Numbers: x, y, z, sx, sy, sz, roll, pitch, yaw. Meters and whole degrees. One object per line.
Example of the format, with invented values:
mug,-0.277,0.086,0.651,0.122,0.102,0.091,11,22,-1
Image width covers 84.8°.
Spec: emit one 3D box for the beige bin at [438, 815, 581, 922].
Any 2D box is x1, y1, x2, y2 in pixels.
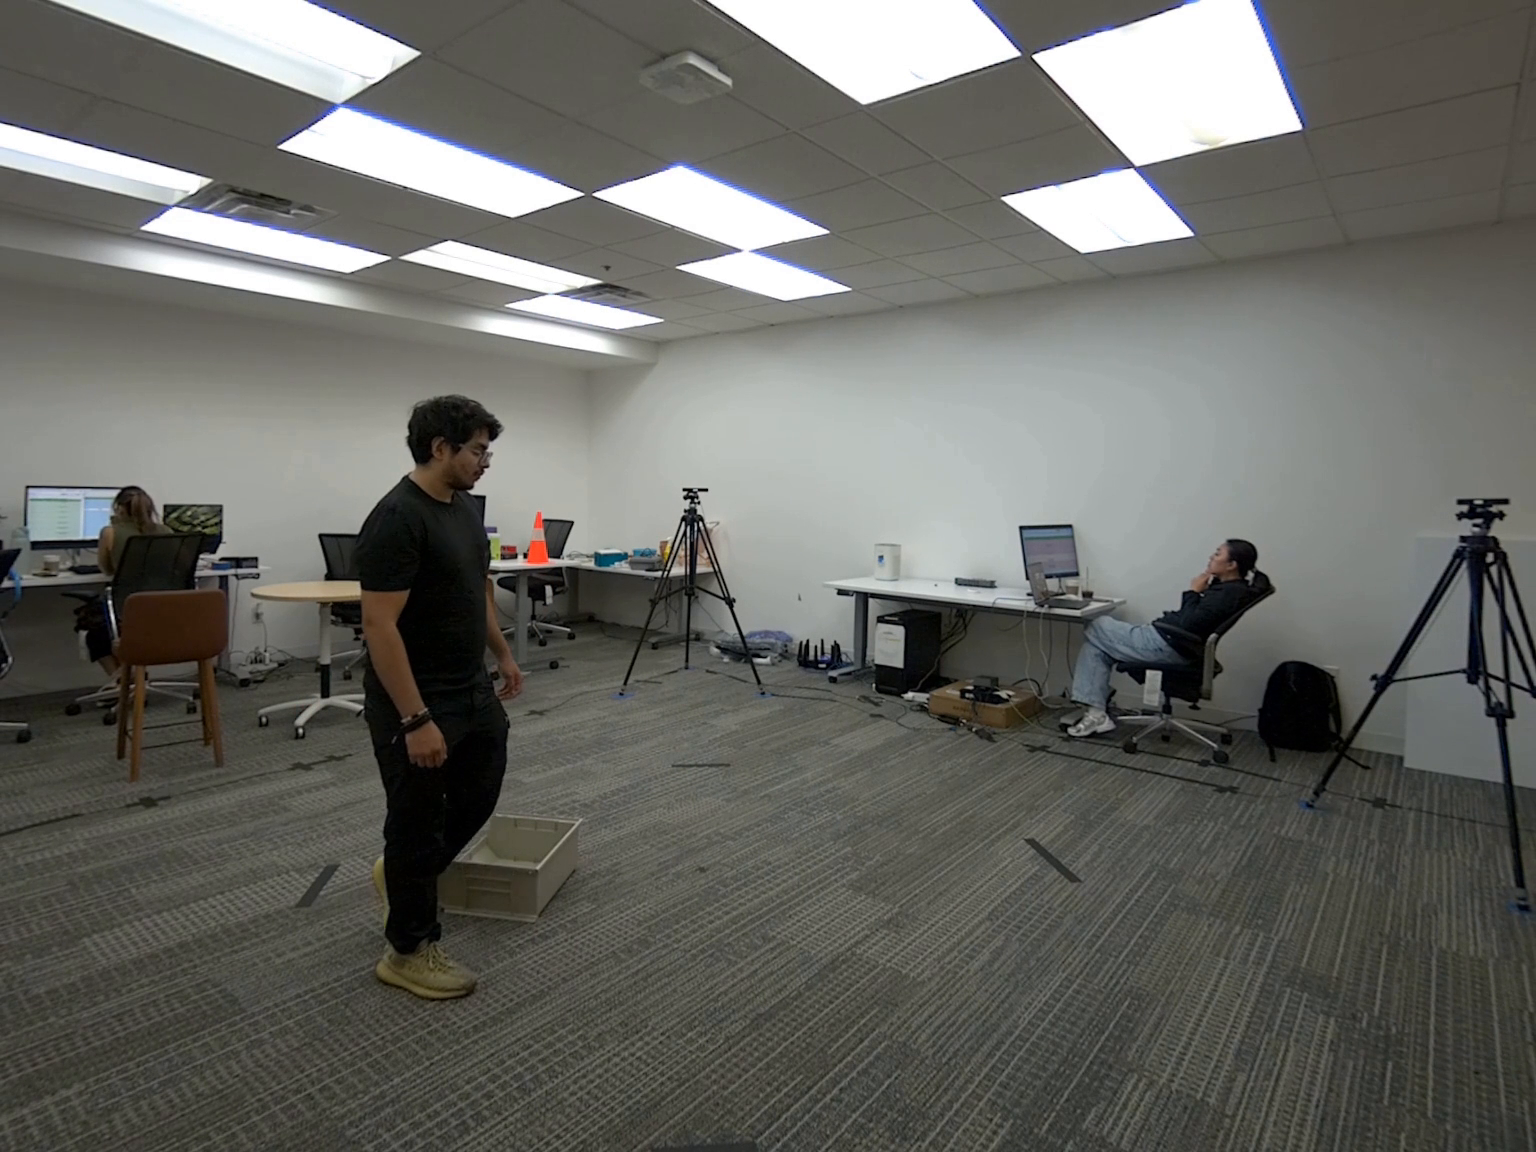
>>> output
beige bin,-0.902,0.989,2.930,0.381,0.188,0.419,3,5,8
